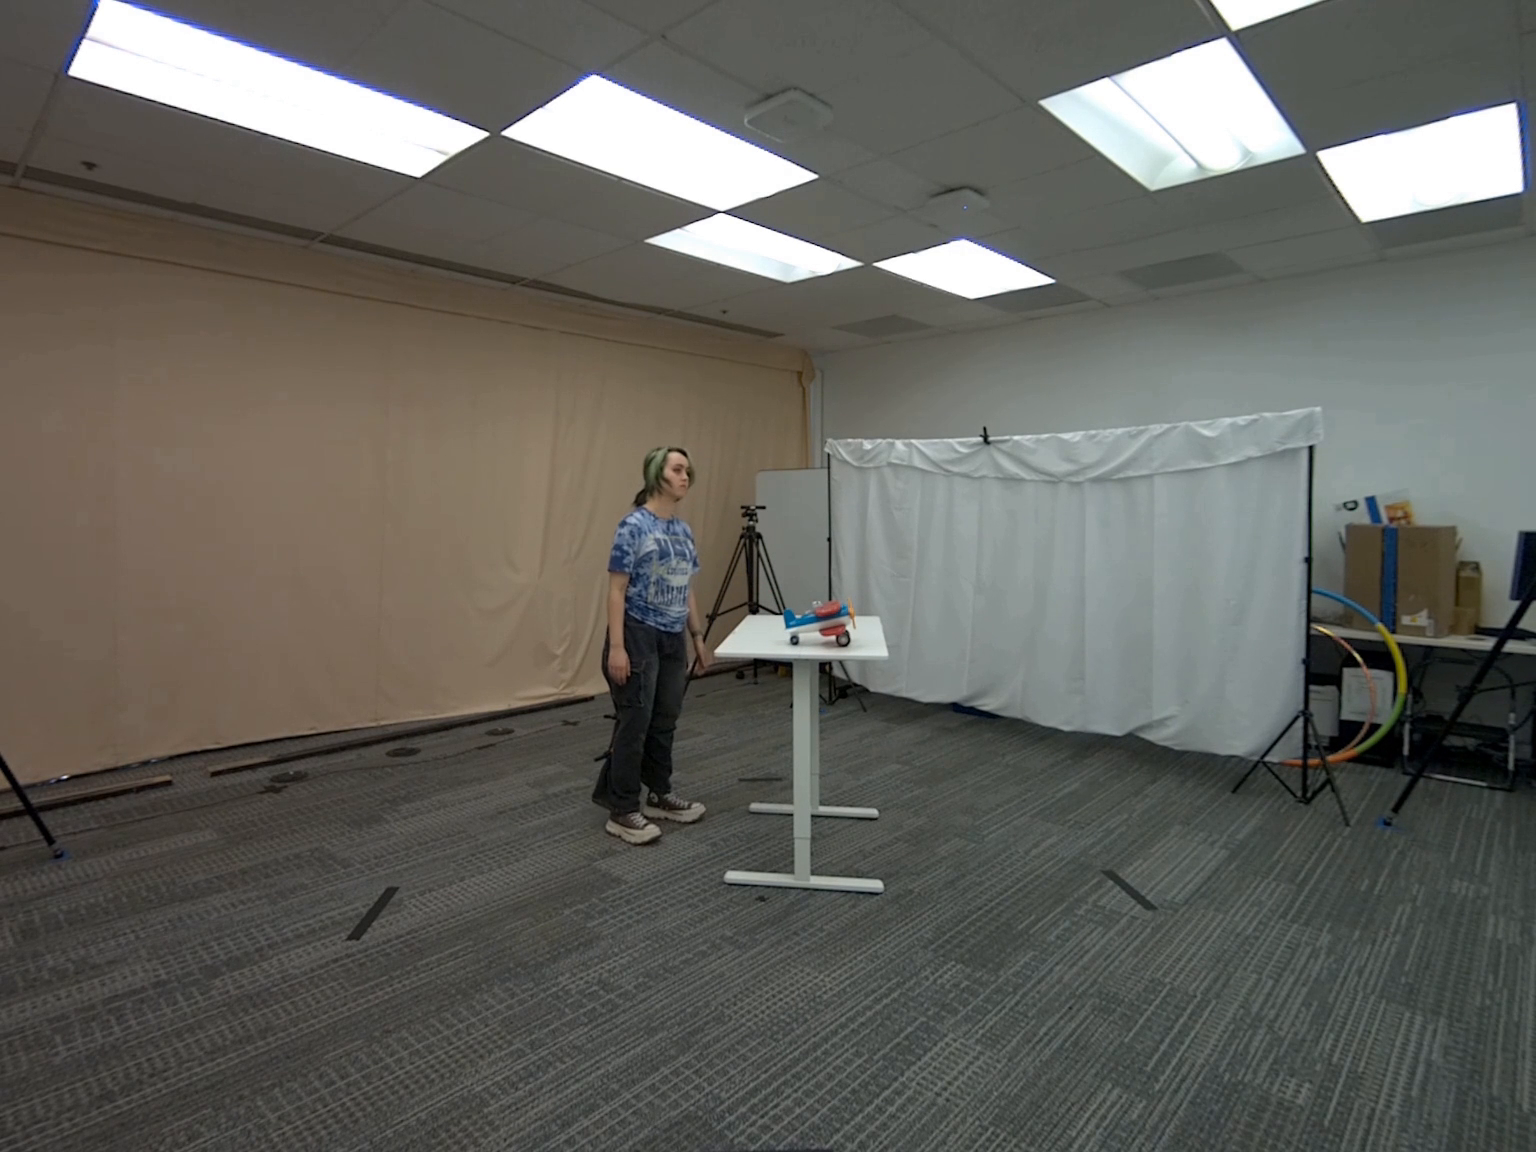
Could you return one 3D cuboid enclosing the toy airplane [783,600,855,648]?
[{"bbox_3d":[0.193,0.178,3.077,0.253,0.156,0.257,-1,5,-24],"label":"toy airplane"}]
